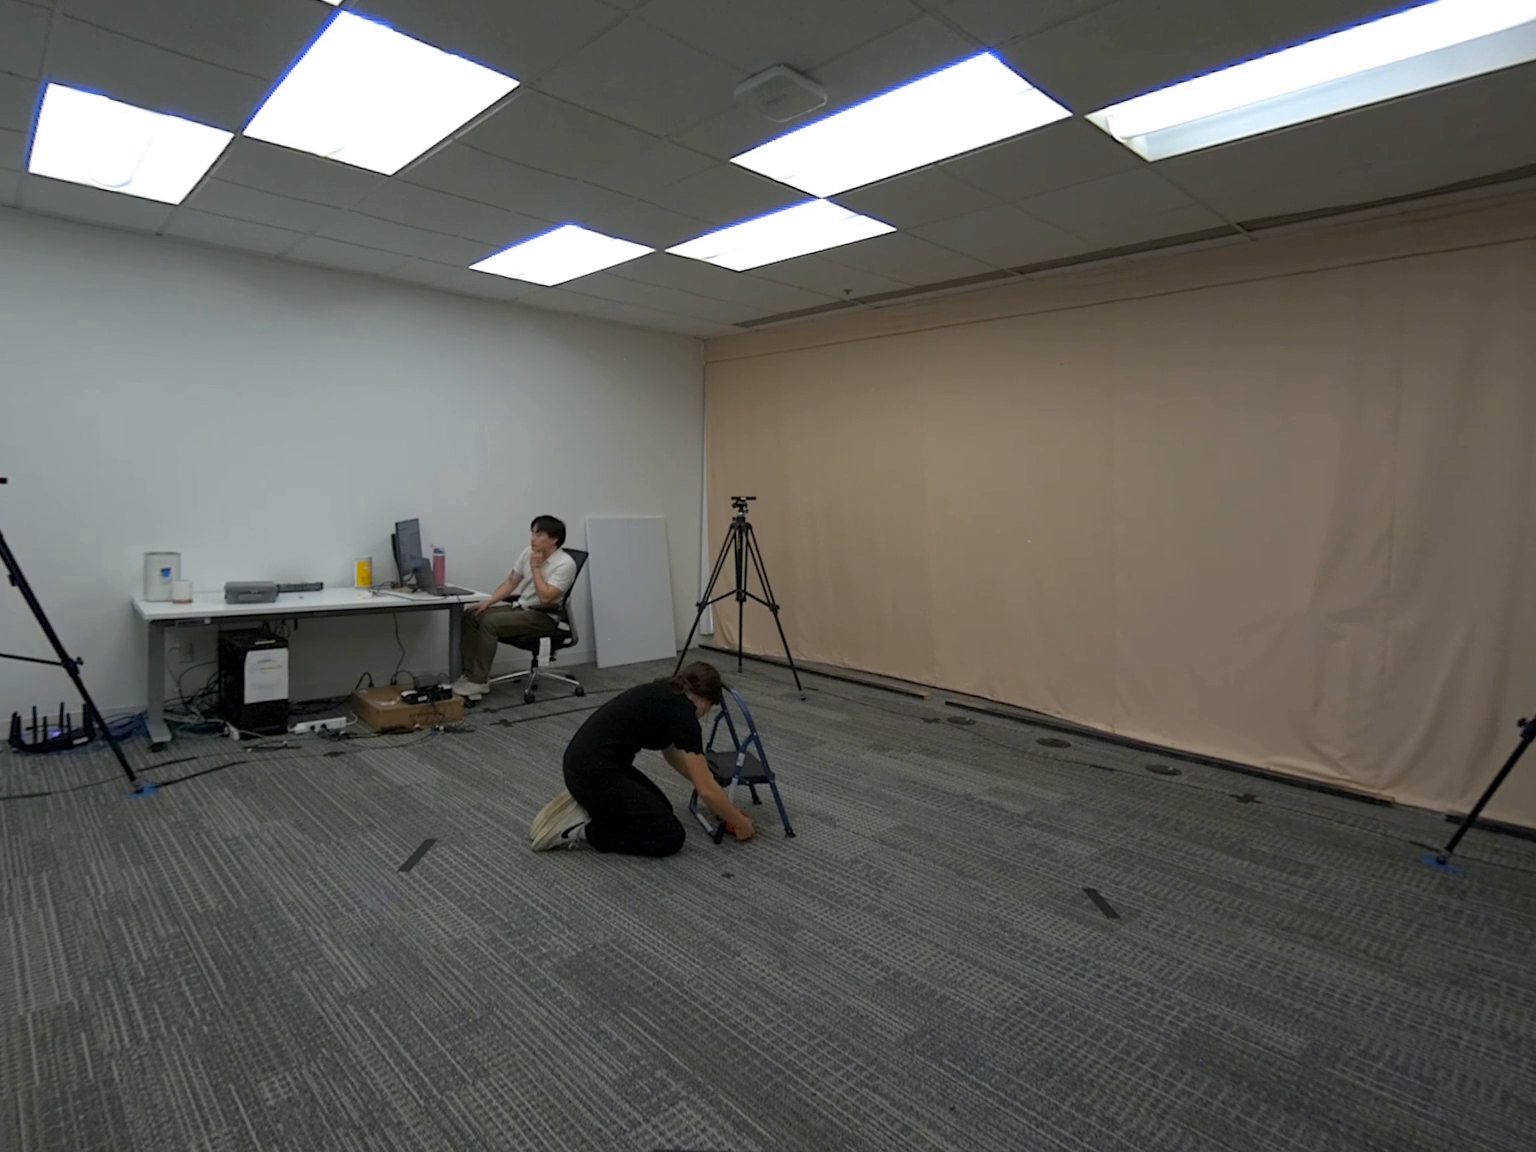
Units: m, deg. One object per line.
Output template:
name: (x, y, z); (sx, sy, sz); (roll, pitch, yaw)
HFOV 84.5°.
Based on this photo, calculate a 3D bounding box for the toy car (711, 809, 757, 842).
toy car: (-0.147, 1.048, 3.570); (0.129, 0.083, 0.256); (5, -6, -14)
